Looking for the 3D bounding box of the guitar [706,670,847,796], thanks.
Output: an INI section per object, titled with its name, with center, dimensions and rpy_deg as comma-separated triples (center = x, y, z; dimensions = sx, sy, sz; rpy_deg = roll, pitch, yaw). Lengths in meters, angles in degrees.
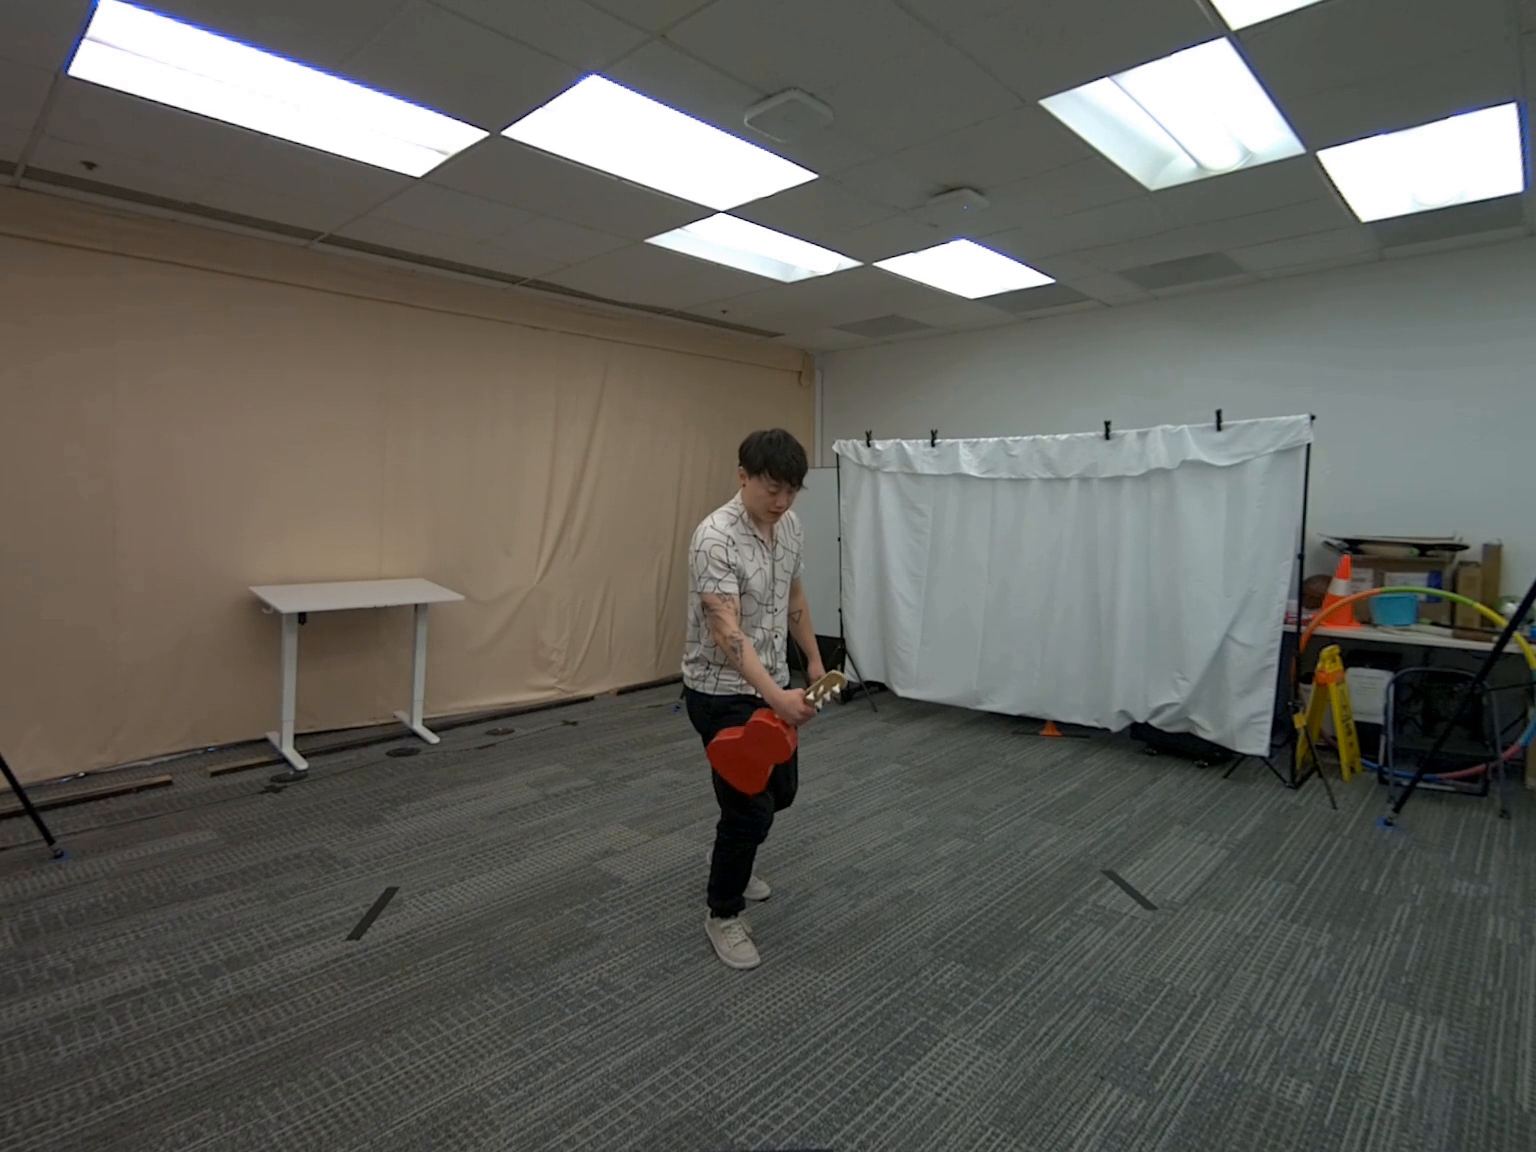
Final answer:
[guitar]
center = 0.009, 0.398, 2.291
dimensions = 0.194, 0.499, 0.070
rpy_deg = 38, 33, 5
